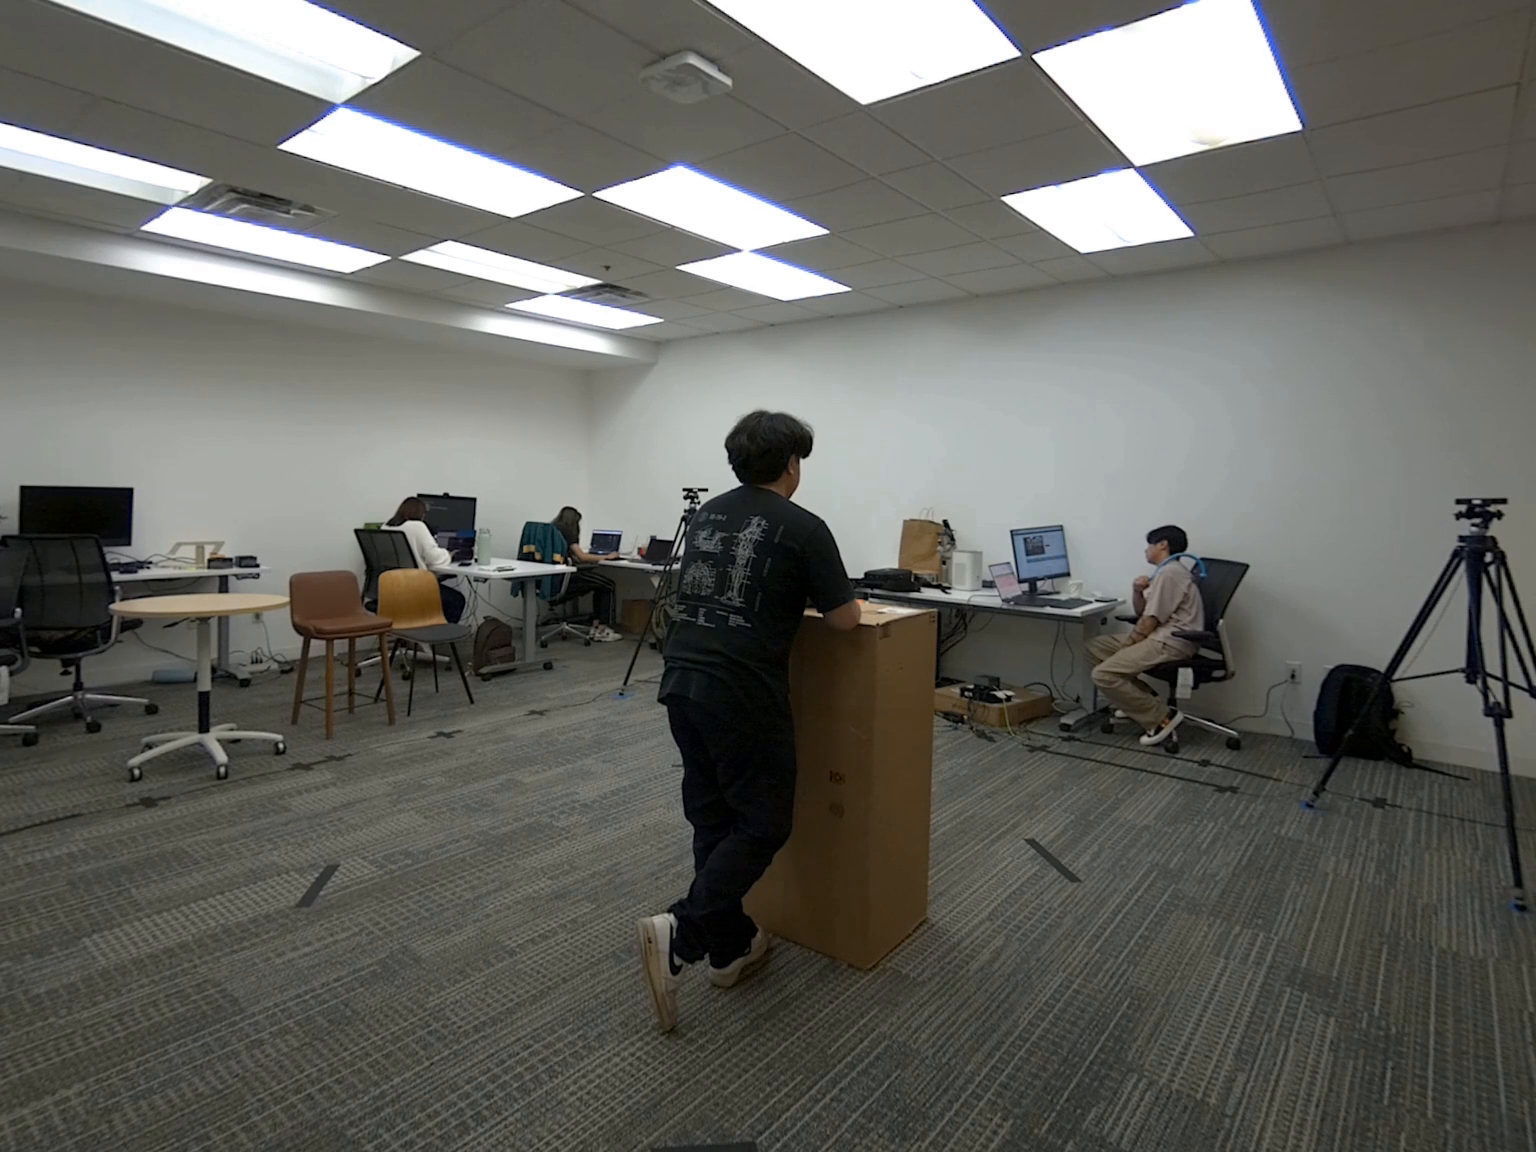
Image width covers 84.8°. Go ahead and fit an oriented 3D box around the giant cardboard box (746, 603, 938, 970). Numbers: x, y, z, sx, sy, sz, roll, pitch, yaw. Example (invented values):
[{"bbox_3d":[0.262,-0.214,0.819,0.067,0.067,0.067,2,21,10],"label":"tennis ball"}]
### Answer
[{"bbox_3d":[0.180,0.600,2.782,0.603,1.024,0.433,4,4,37],"label":"giant cardboard box"}]
